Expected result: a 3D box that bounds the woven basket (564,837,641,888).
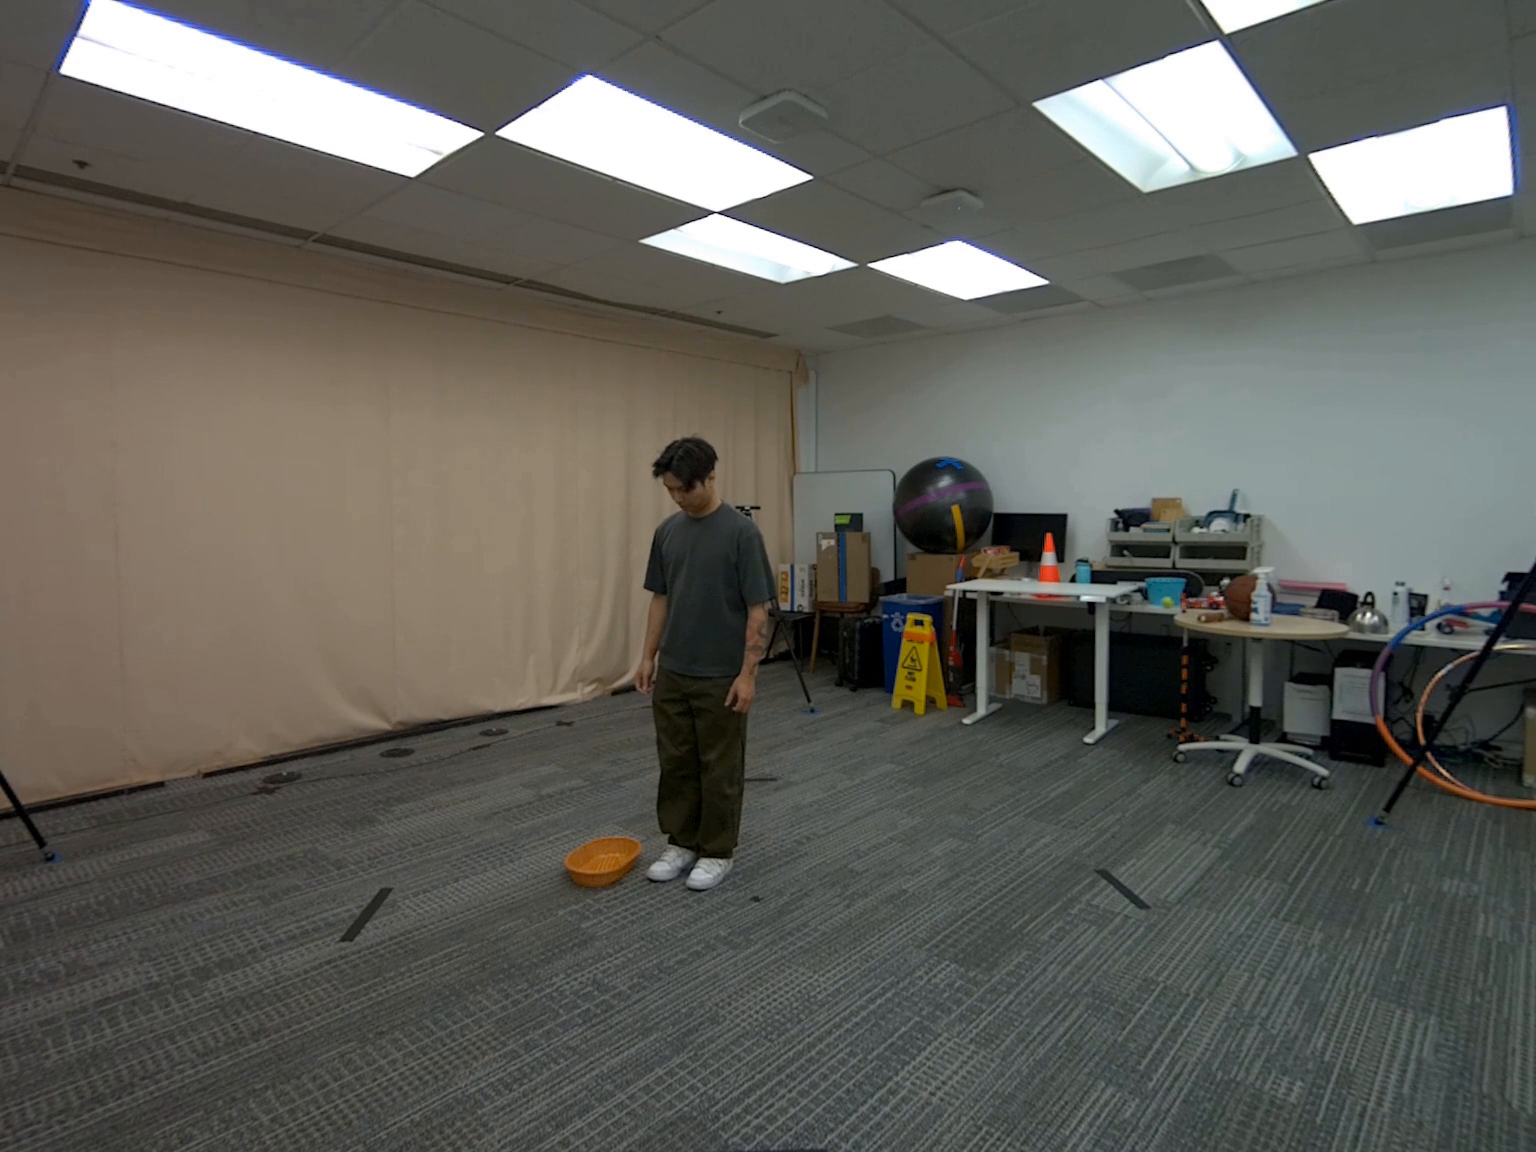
[{"bbox_3d":[-0.629,1.094,3.219,0.259,0.073,0.342,2,5,26],"label":"woven basket"}]
